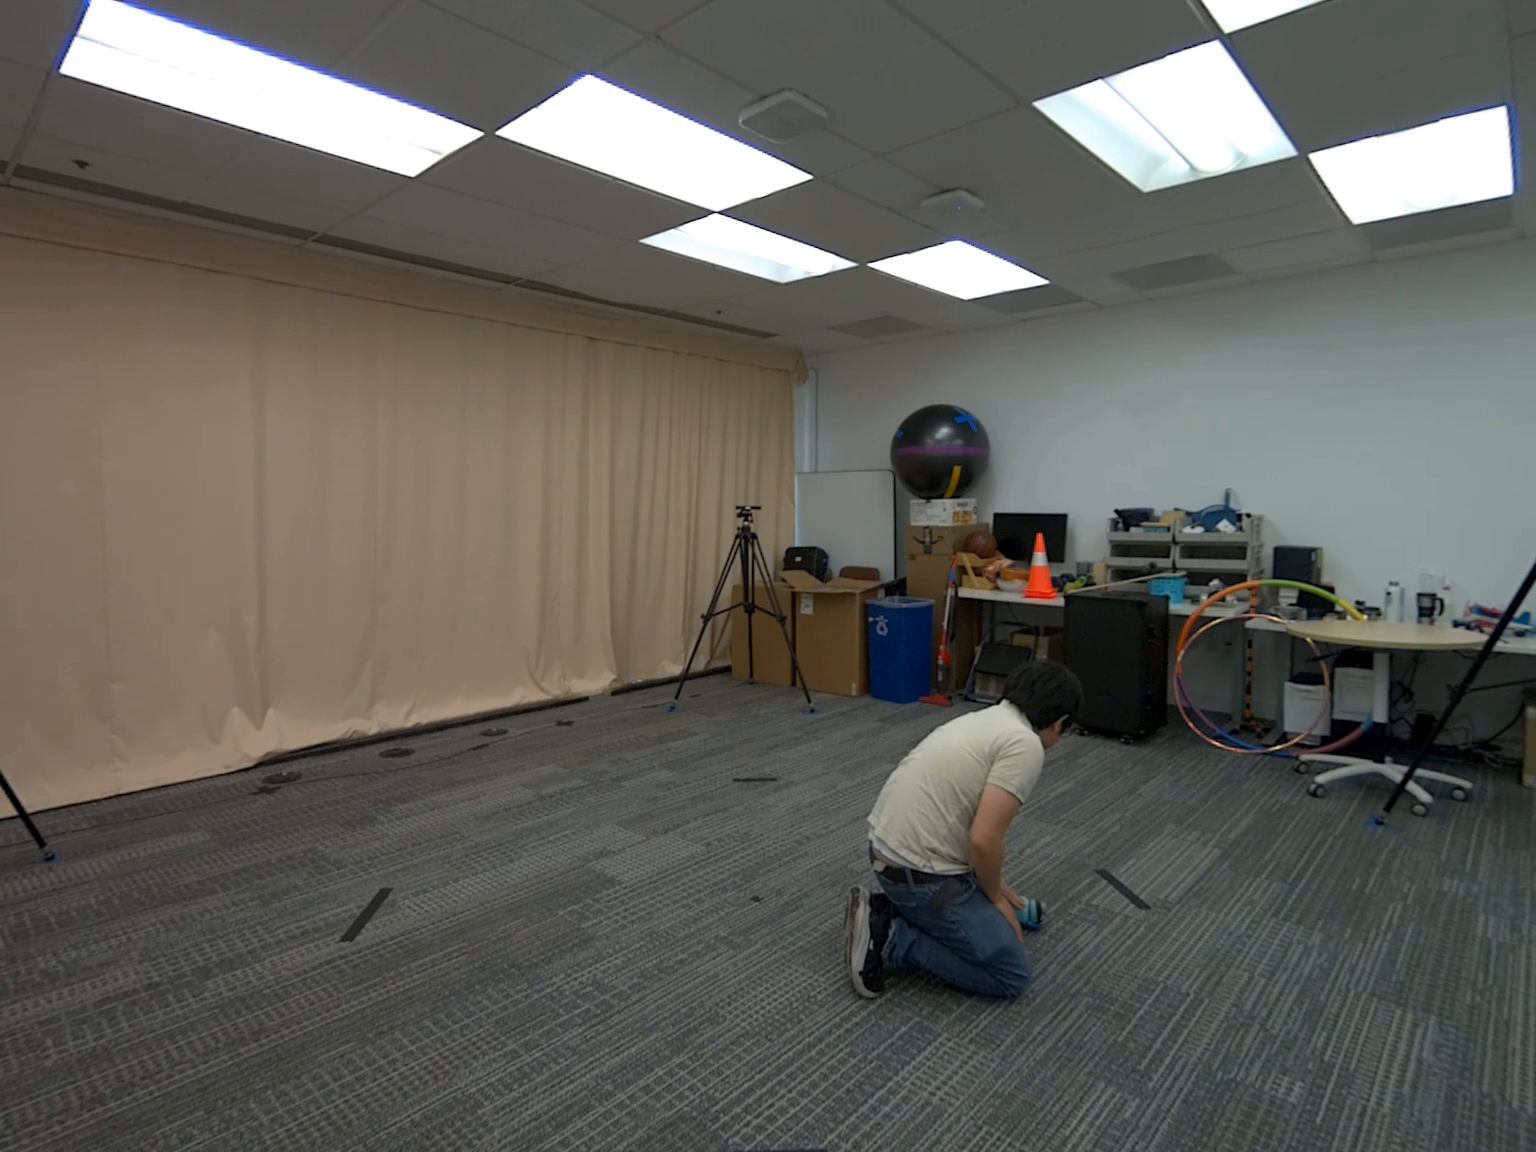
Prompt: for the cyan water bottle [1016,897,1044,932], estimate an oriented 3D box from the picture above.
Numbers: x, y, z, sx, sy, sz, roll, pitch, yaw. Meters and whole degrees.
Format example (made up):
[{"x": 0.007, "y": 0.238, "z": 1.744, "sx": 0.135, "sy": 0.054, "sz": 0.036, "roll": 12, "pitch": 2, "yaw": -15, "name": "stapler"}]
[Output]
[{"x": 0.784, "y": 1.109, "z": 2.809, "sx": 0.289, "sy": 0.092, "sz": 0.090, "roll": 1, "pitch": 4, "yaw": 19, "name": "cyan water bottle"}]
